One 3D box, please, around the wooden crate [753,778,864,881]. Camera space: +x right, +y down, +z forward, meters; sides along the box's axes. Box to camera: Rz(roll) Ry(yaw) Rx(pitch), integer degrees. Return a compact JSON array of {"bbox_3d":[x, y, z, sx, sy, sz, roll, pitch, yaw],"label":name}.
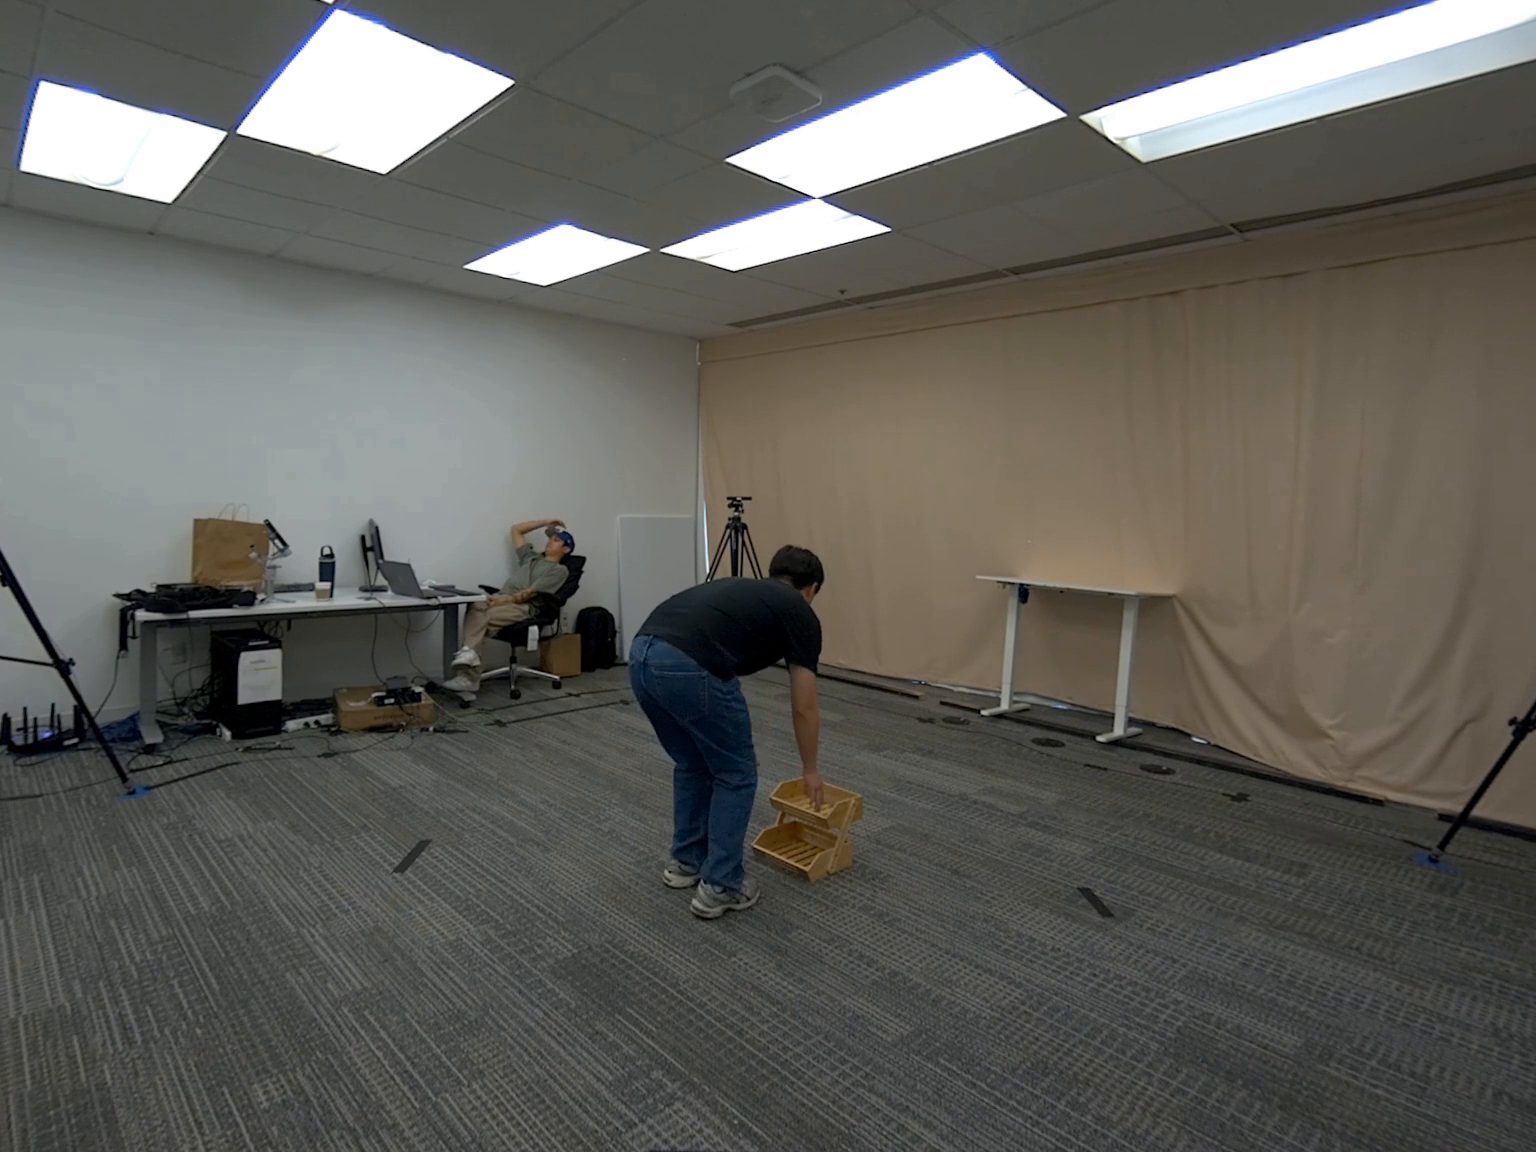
[{"bbox_3d":[0.146,0.966,3.258,0.295,0.273,0.333,-2,5,-44],"label":"wooden crate"}]
